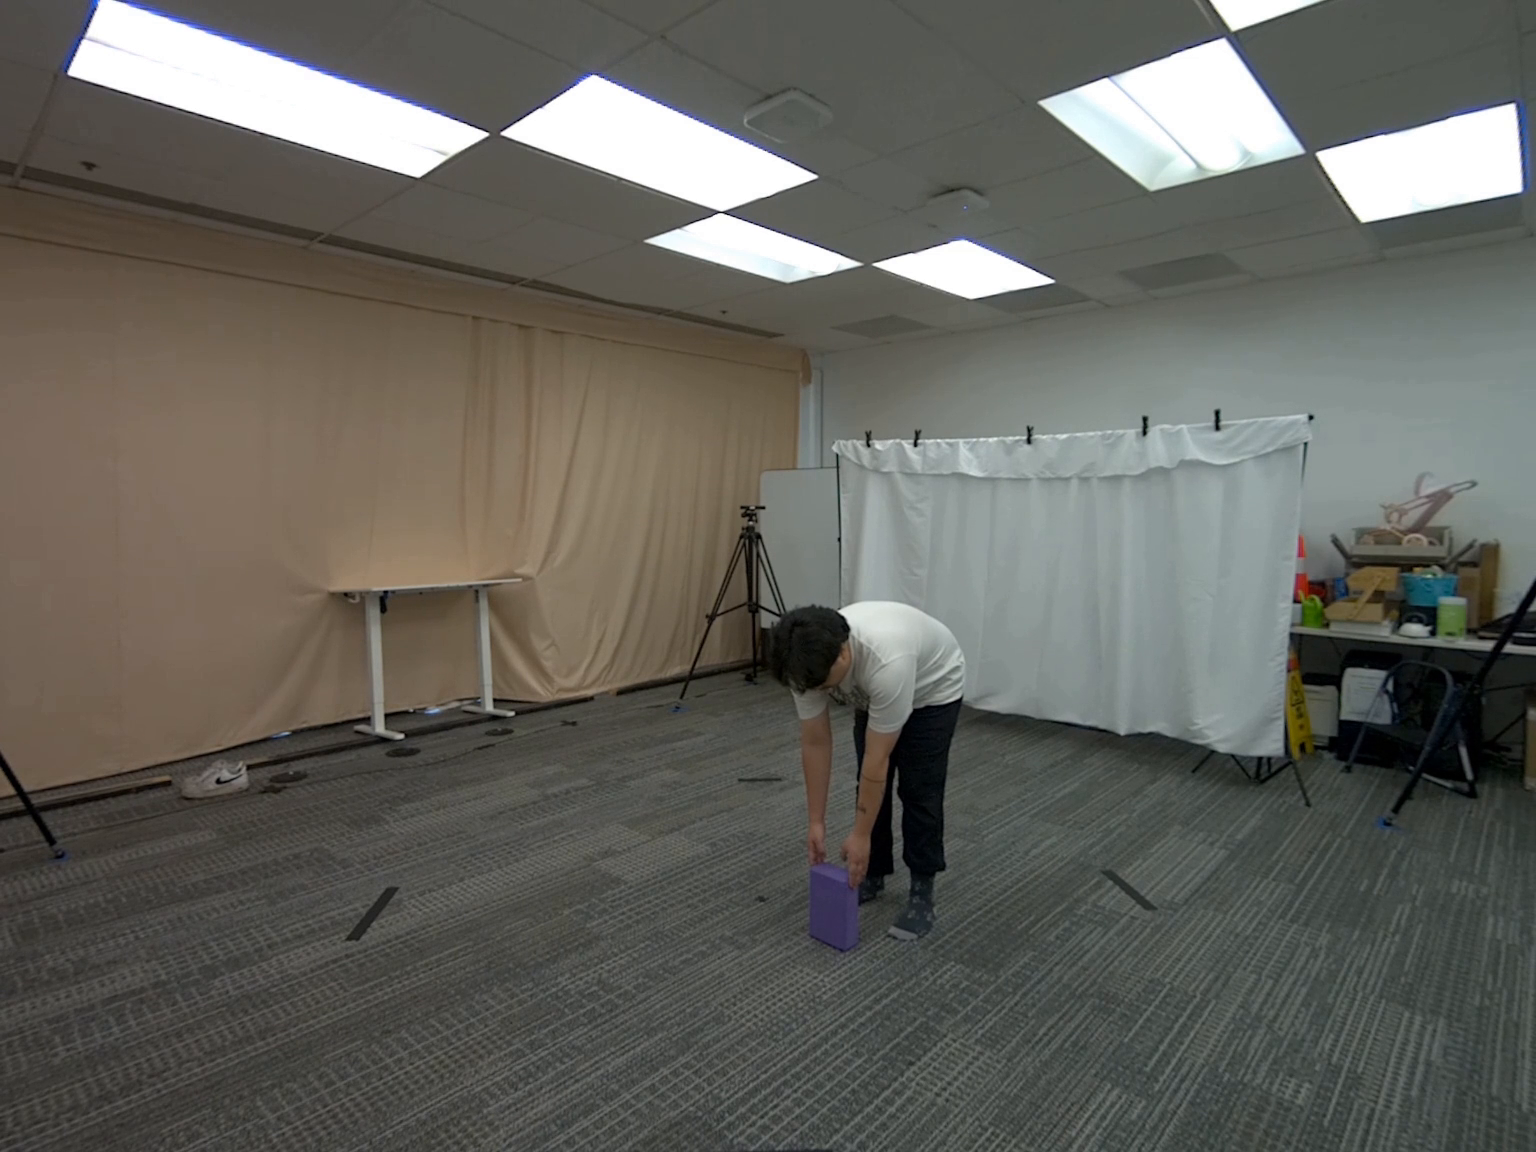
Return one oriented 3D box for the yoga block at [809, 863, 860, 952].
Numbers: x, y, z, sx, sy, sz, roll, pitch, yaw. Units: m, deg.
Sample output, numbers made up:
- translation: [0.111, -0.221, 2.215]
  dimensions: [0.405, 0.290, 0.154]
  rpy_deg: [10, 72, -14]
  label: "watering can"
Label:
- translation: [0.219, 1.058, 2.688]
  dimensions: [0.154, 0.229, 0.074]
  rpy_deg: [5, 3, 43]
  label: "yoga block"
